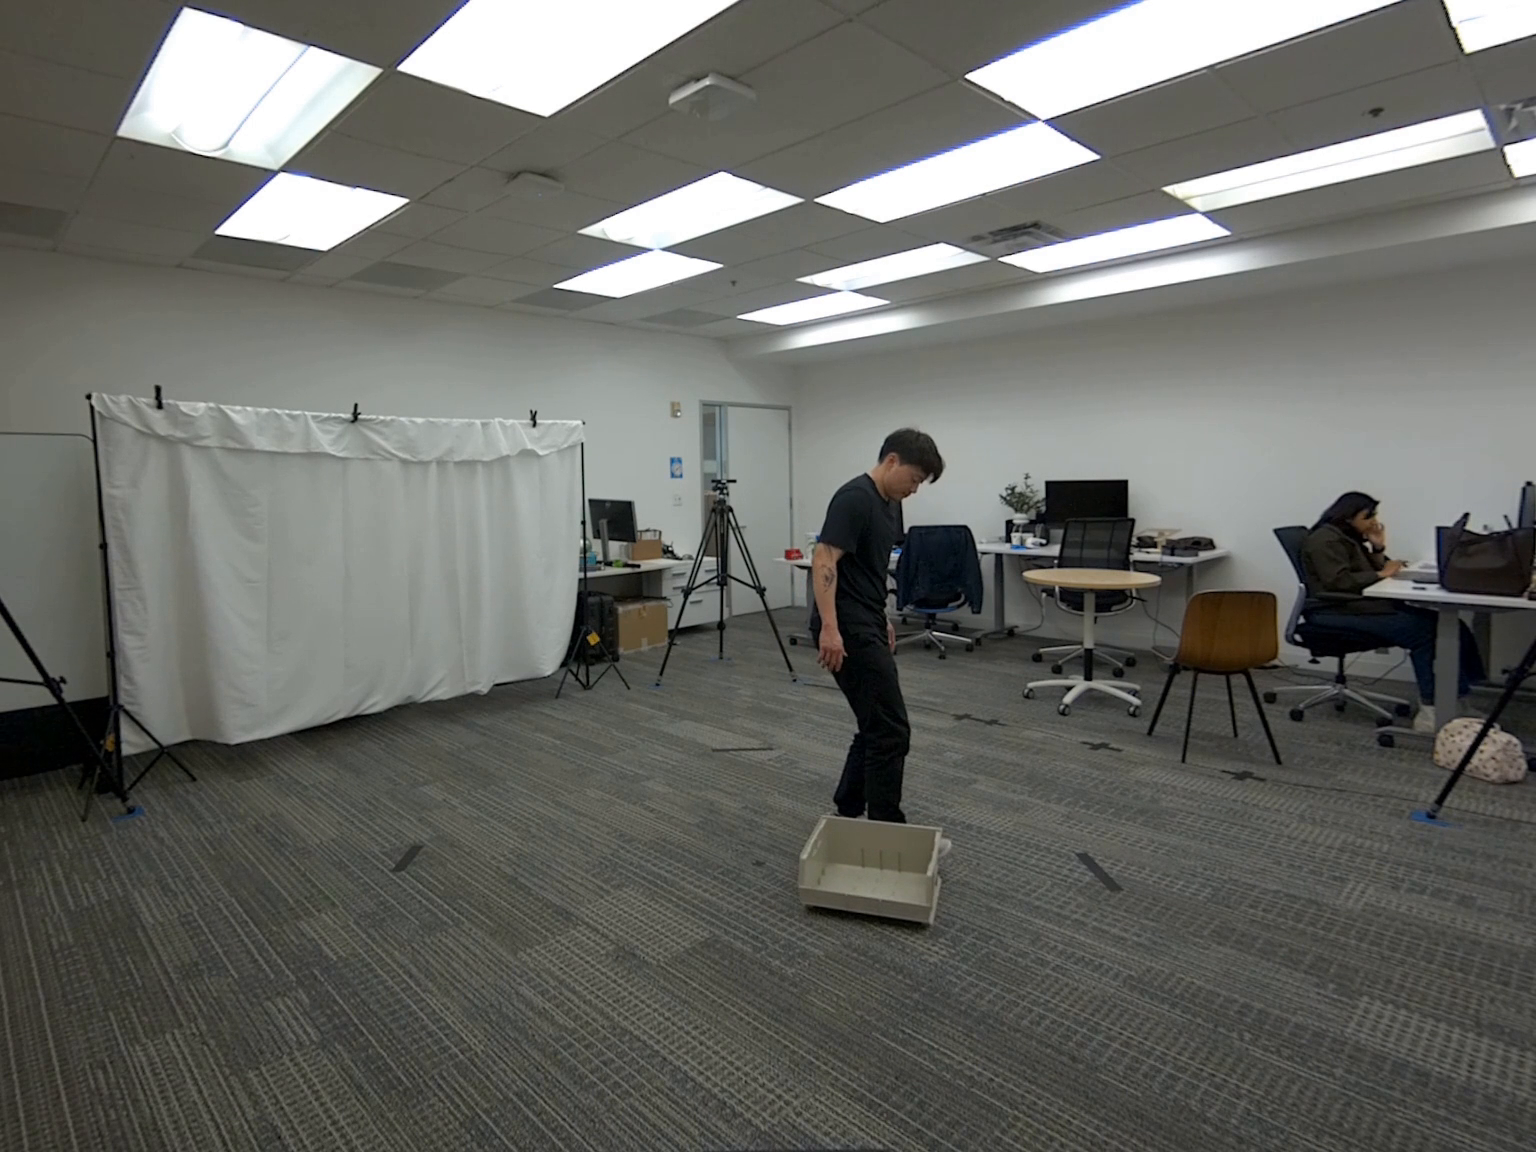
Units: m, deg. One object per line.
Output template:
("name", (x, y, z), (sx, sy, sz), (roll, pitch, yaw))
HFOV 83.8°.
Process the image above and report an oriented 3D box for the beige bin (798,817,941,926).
("beige bin", (0.352, 0.979, 2.840), (0.430, 0.188, 0.372), (-1, 6, 18))
